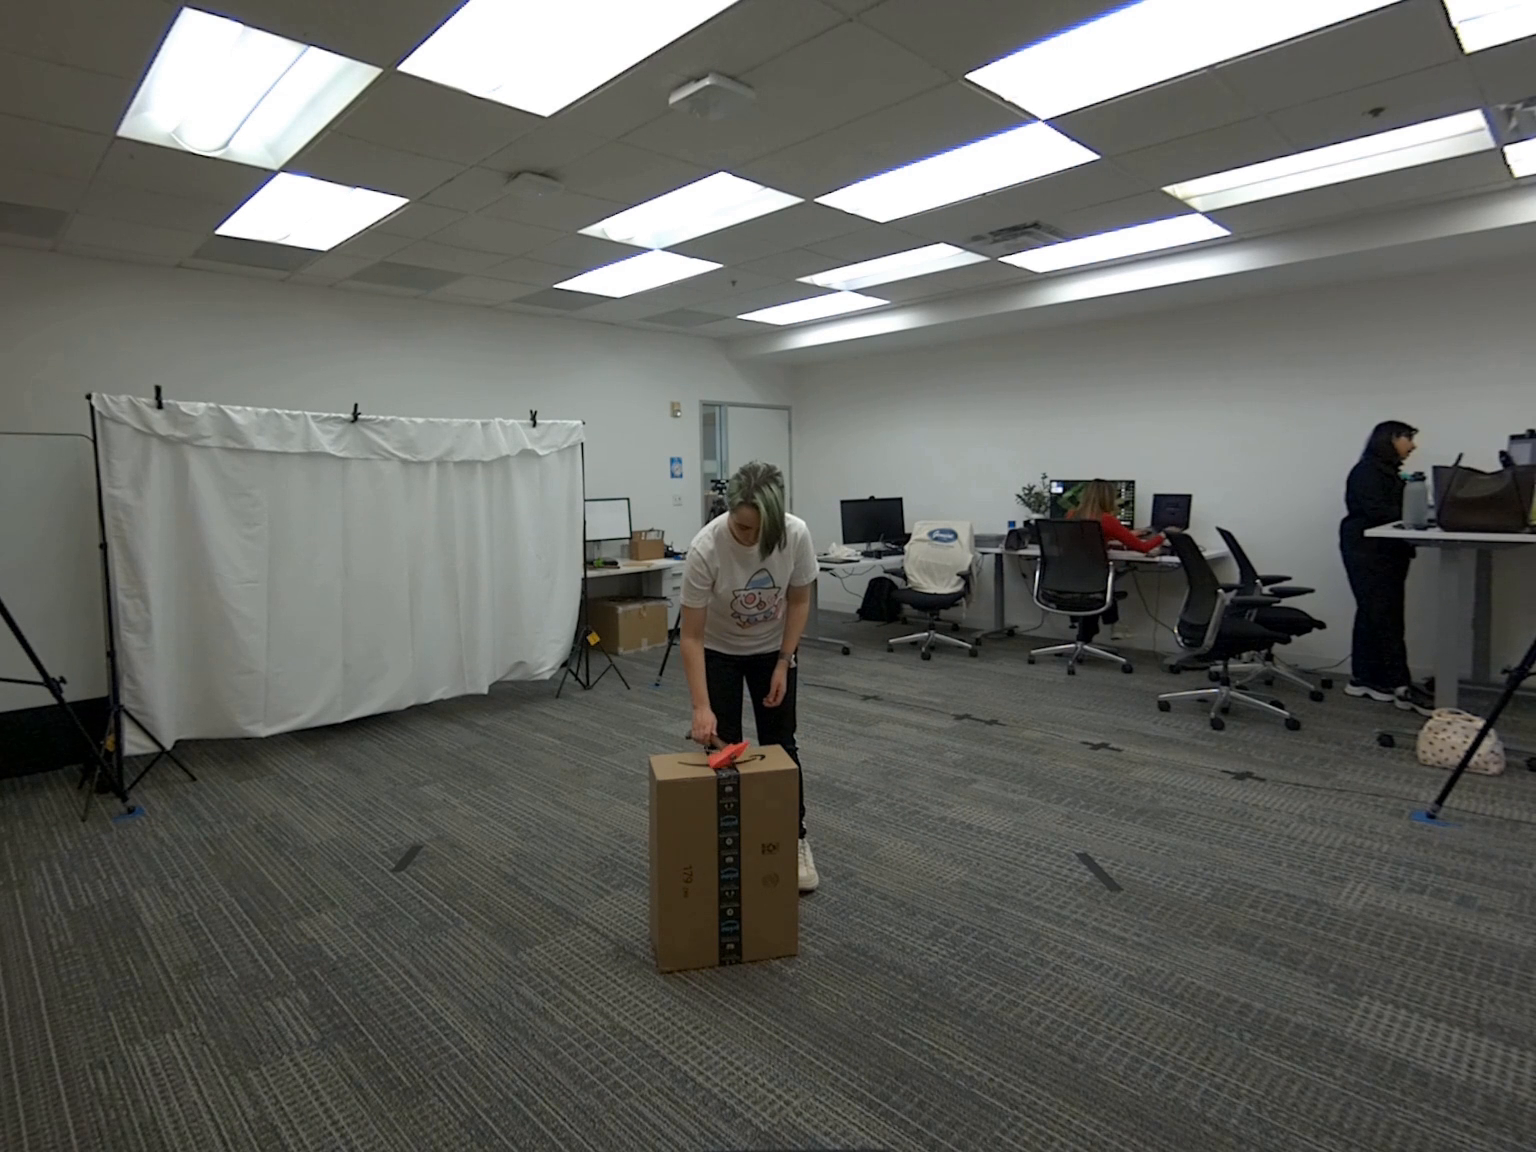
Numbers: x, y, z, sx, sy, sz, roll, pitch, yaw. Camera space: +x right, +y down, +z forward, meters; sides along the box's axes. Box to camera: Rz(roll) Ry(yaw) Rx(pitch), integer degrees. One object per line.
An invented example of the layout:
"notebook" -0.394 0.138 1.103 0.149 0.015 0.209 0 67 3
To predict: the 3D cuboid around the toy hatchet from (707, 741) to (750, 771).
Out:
"toy hatchet" -0.179 0.525 2.581 0.130 0.029 0.277 -38 23 -32
